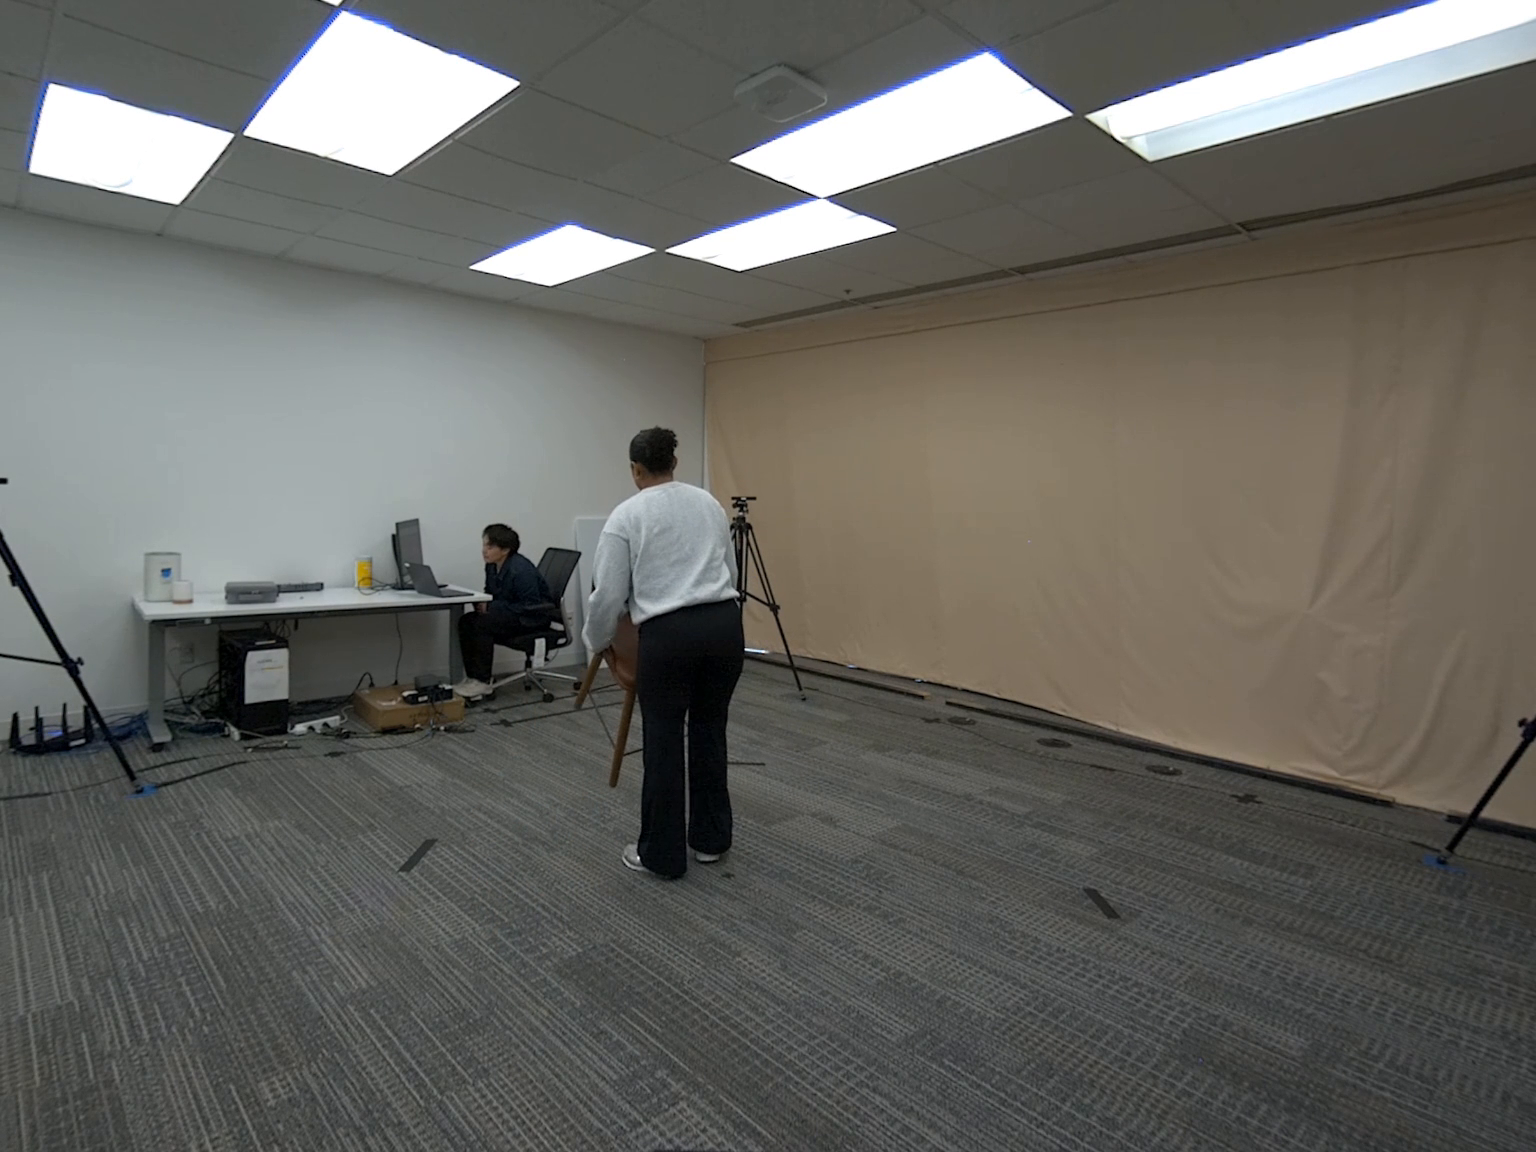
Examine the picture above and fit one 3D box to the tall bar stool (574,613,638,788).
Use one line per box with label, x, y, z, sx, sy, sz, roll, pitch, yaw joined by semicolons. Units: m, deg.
tall bar stool;-0.485;0.351;3.391;0.448;0.877;0.482;-9;42;-32
